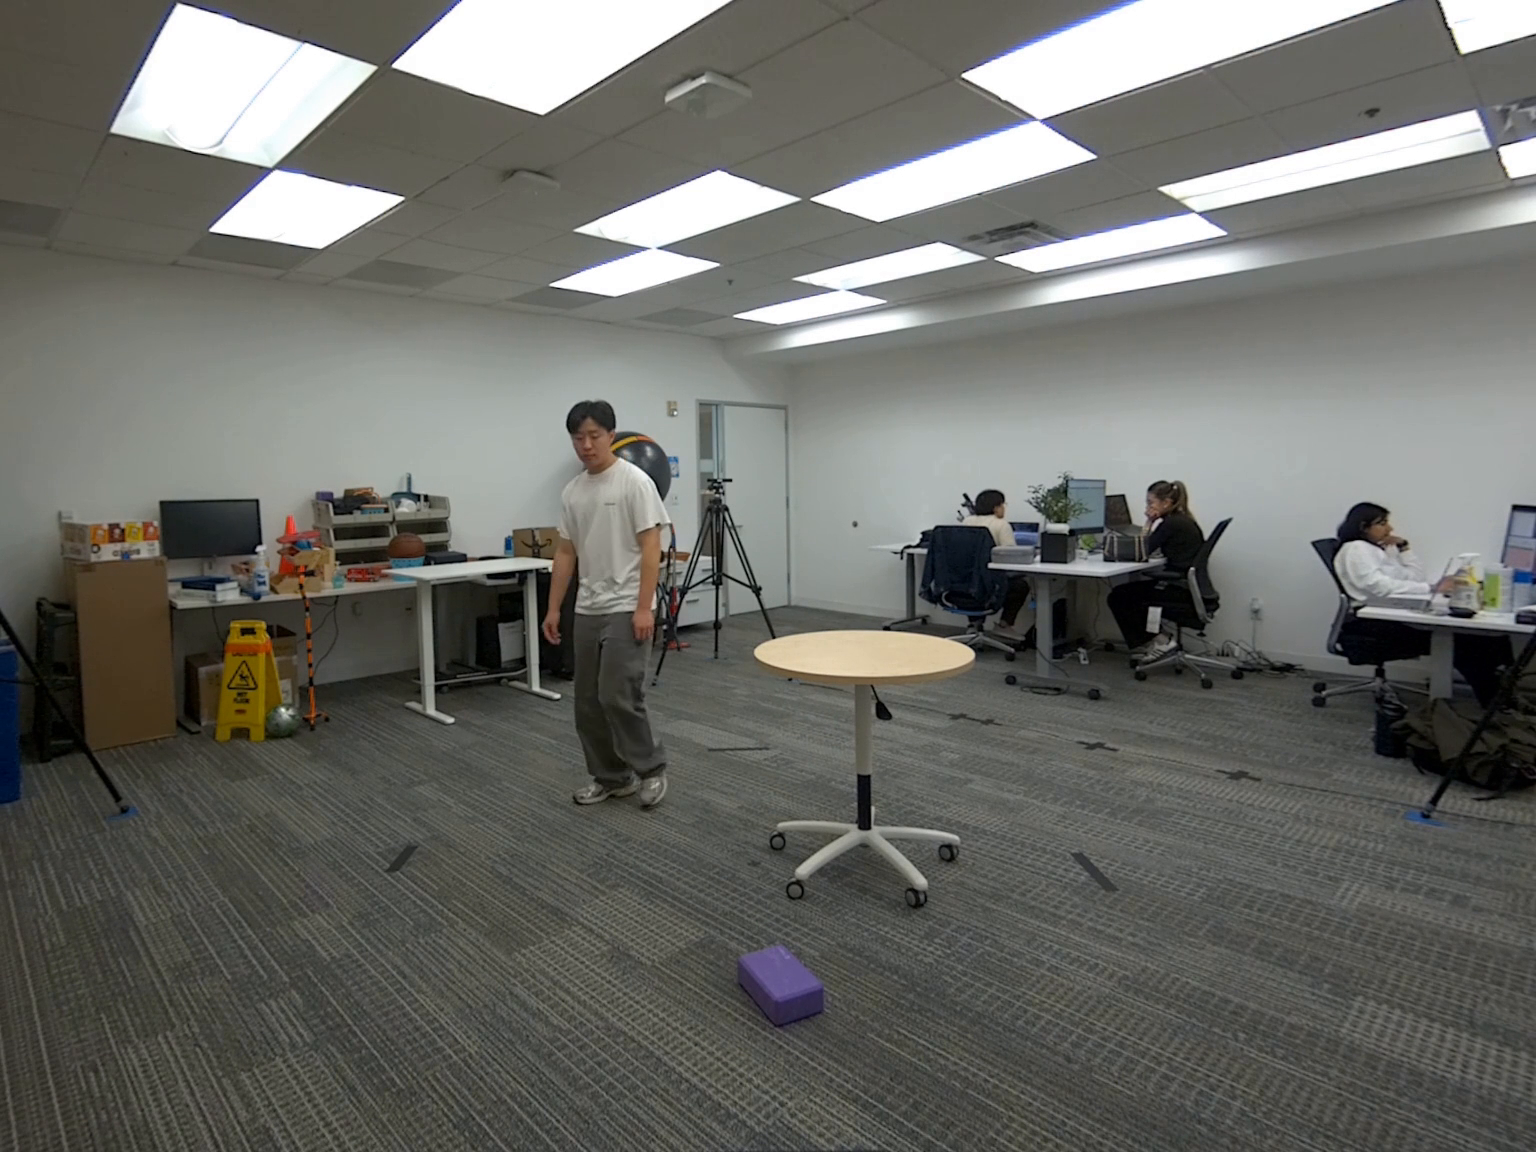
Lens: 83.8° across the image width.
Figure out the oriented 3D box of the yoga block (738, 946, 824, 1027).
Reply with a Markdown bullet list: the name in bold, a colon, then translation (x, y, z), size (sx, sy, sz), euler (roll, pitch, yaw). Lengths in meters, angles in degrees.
- **yoga block**: translation (0.039, 1.100, 2.307), size (0.146, 0.076, 0.235), euler (-4, 7, -27)
